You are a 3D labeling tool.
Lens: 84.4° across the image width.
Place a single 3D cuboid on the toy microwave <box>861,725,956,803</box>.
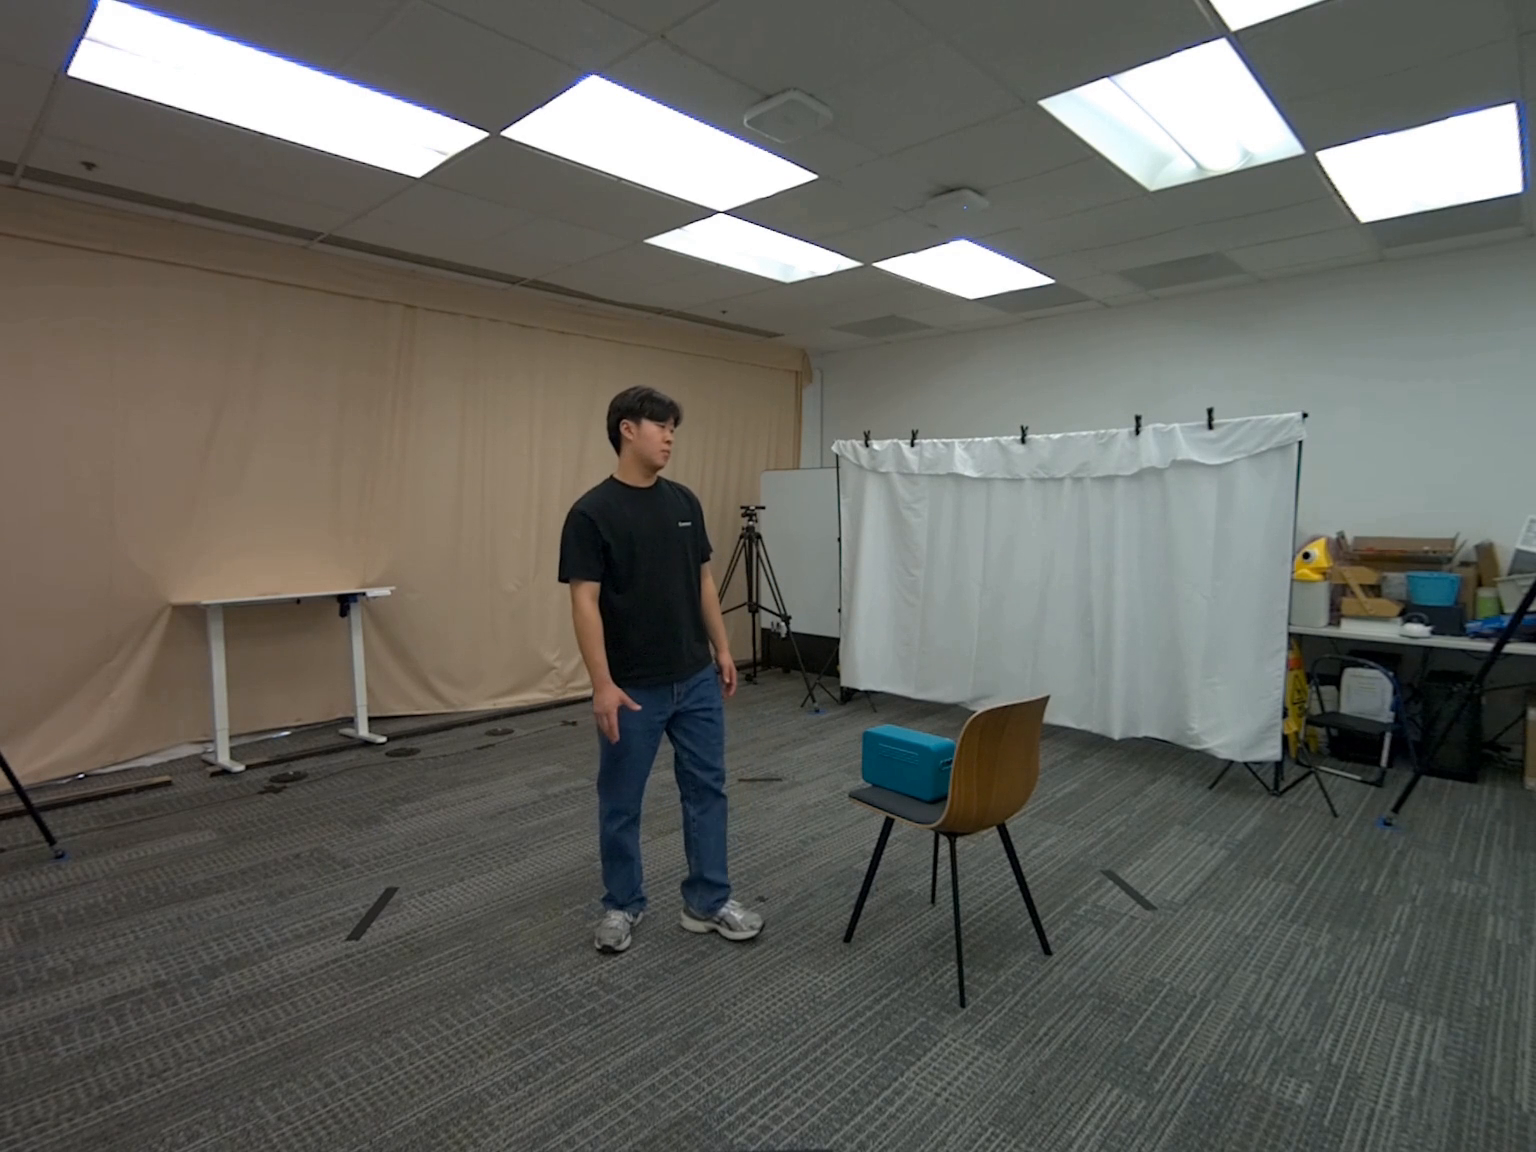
[{"bbox_3d":[0.463,0.597,2.705,0.147,0.184,0.296,-1,4,-42],"label":"toy microwave"}]
